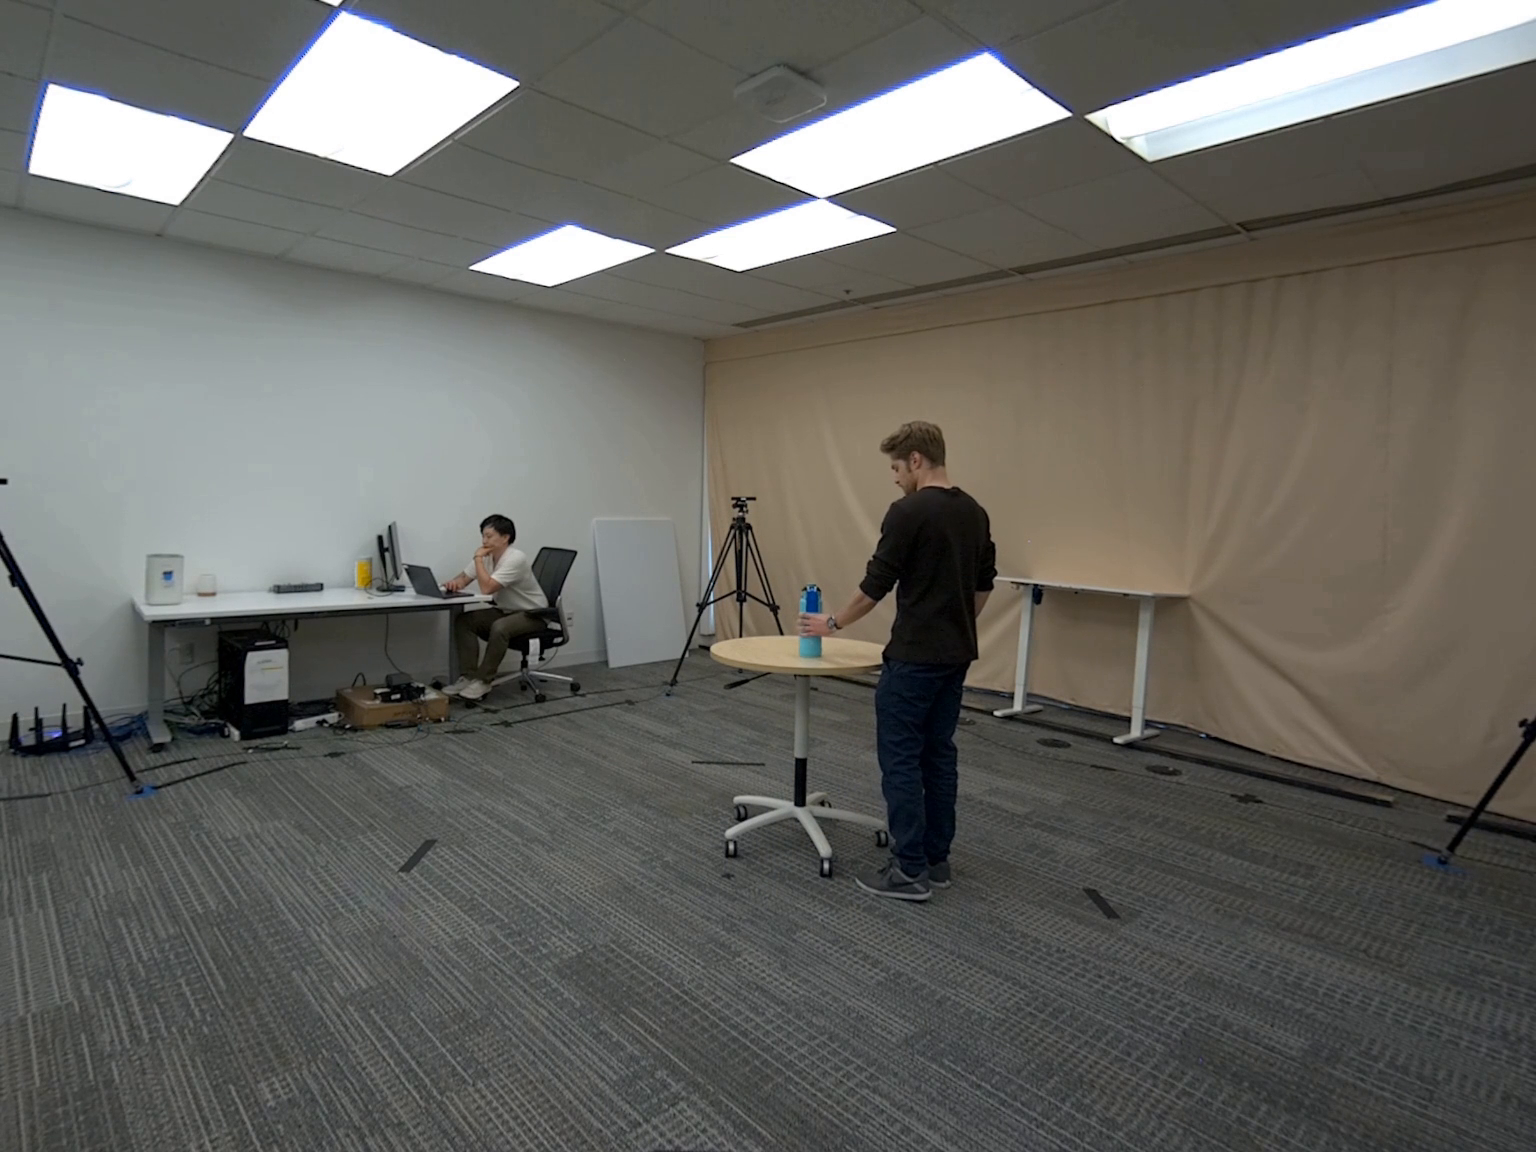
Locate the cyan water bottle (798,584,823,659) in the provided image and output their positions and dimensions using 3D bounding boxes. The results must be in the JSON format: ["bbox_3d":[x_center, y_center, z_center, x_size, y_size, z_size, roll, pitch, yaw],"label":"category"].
[{"bbox_3d":[0.167,0.173,3.304,0.092,0.282,0.093,3,4,-2],"label":"cyan water bottle"}]
